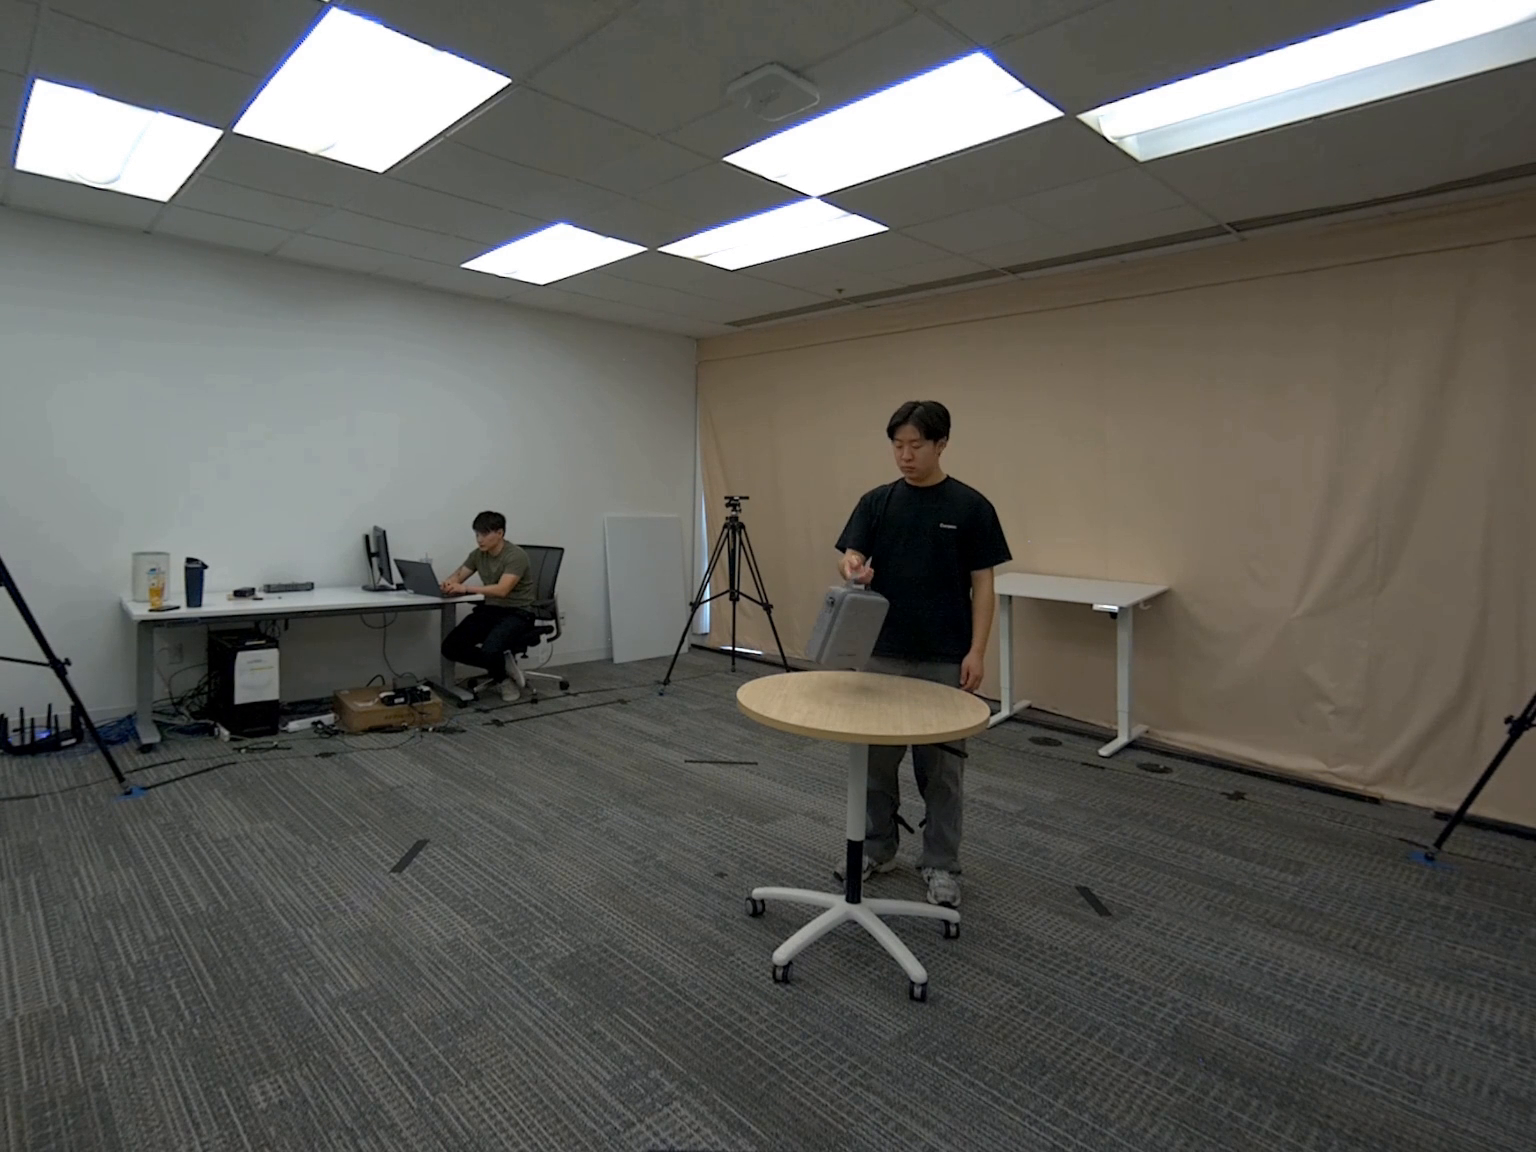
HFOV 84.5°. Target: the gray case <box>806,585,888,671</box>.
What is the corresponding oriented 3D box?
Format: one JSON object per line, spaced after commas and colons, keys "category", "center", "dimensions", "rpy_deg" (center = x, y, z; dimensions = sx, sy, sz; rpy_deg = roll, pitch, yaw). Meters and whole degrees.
{"category": "gray case", "center": [0.254, 0.150, 2.695], "dimensions": [0.106, 0.286, 0.256], "rpy_deg": [20, 6, 40]}
